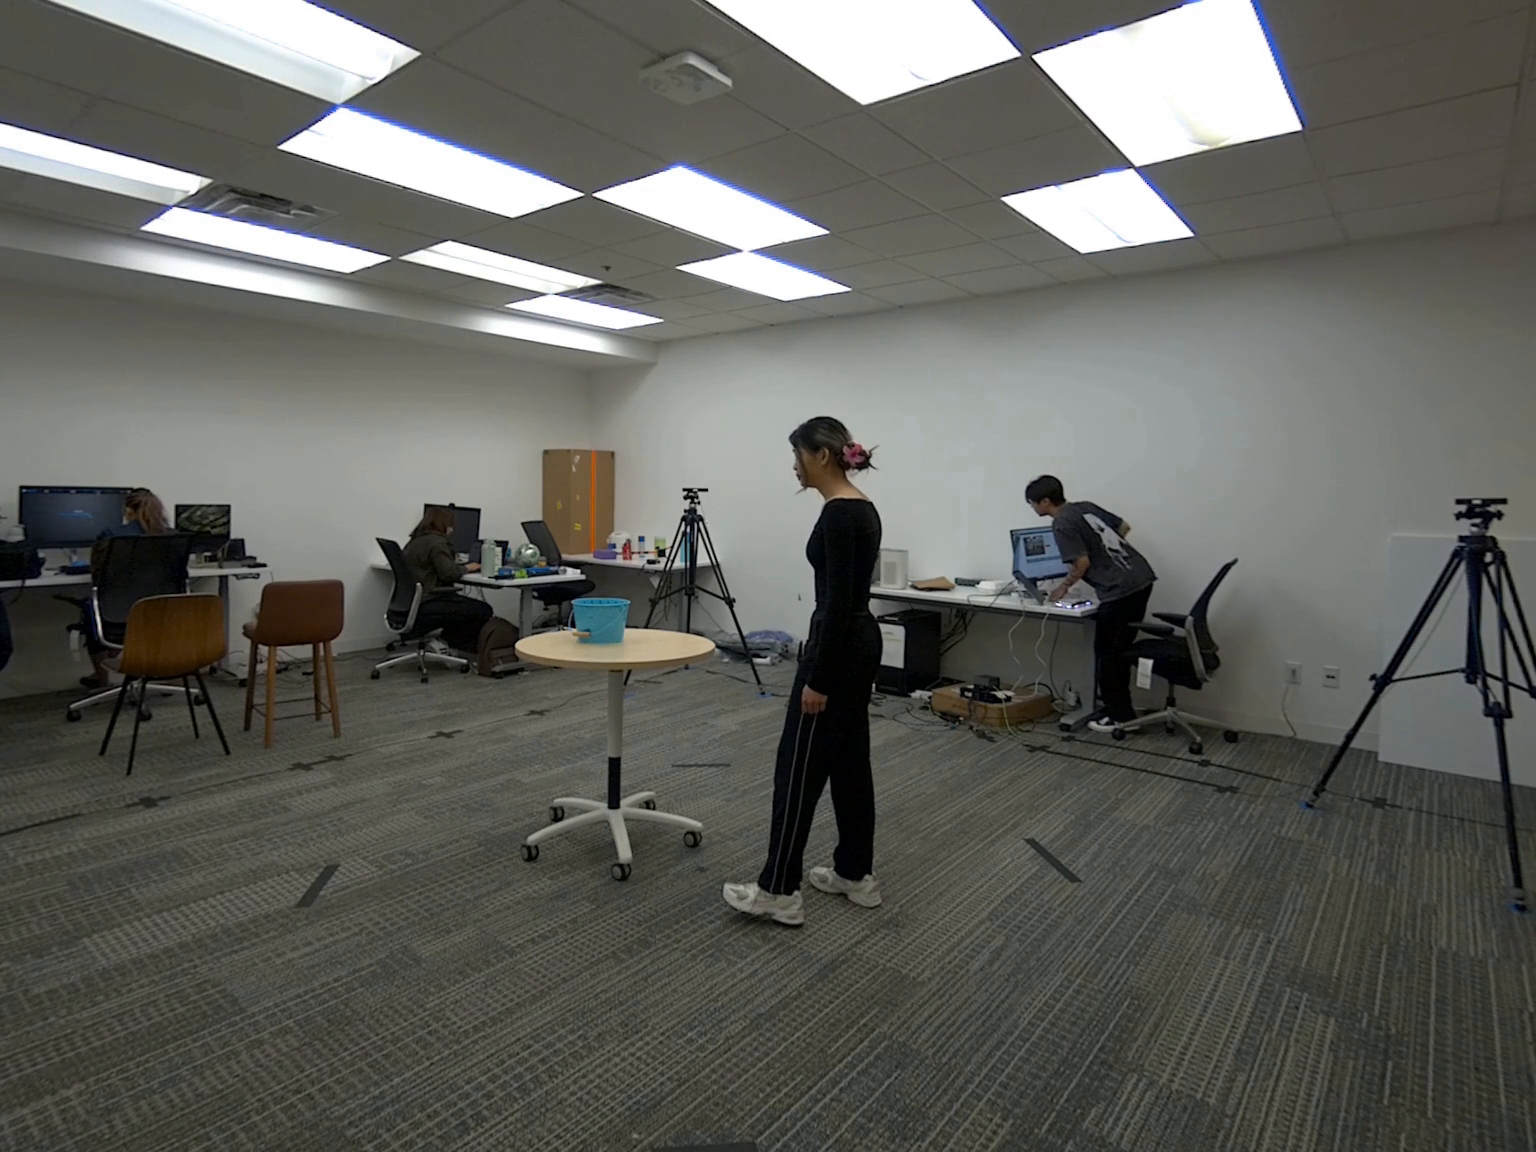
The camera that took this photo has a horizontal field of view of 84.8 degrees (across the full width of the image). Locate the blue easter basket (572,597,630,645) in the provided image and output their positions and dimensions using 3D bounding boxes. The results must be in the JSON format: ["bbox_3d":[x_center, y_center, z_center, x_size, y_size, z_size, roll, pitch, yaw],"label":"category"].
[{"bbox_3d":[-0.693,0.181,3.378,0.243,0.155,0.245,2,4,-2],"label":"blue easter basket"}]
